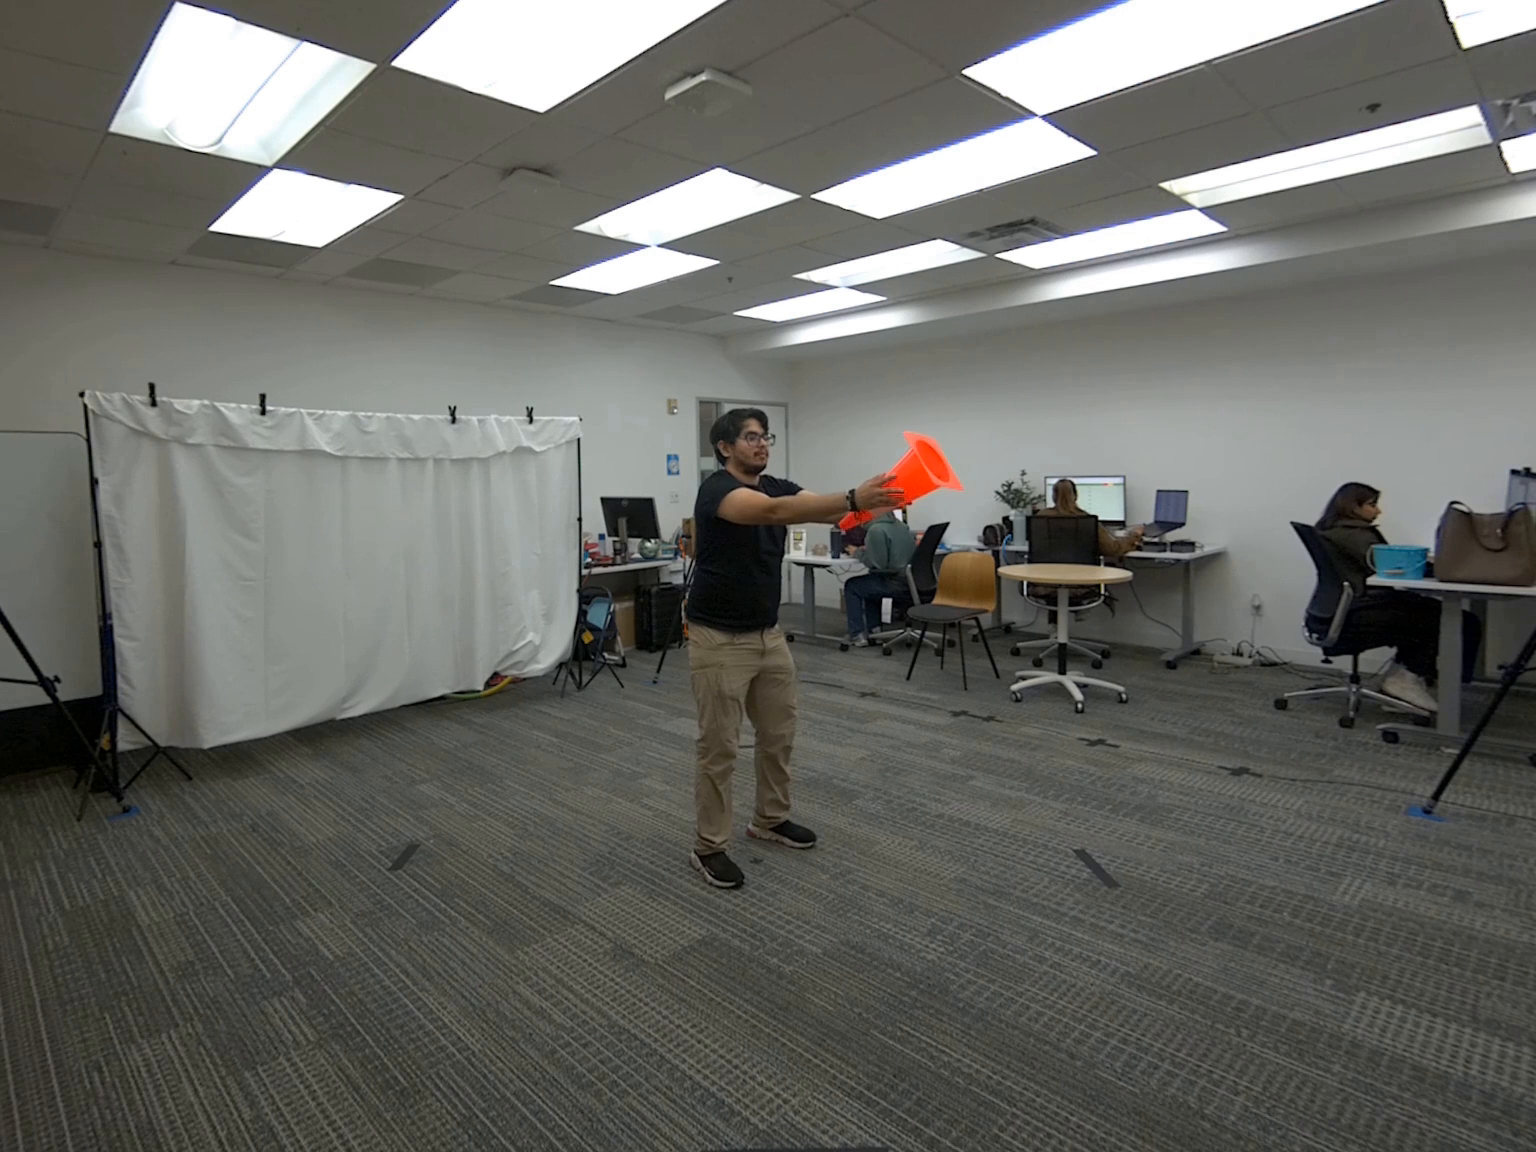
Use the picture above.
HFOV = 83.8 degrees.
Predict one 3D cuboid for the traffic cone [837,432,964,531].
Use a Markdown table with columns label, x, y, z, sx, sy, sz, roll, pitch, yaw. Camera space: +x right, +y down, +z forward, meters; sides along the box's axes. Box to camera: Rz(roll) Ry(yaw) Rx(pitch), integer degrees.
| label | x | y | z | sx | sy | sz | roll | pitch | yaw |
| --- | --- | --- | --- | --- | --- | --- | --- | --- | --- |
| traffic cone | 0.386 | -0.245 | 2.671 | 0.386 | 0.208 | 0.199 | -37 | -24 | 34 |
